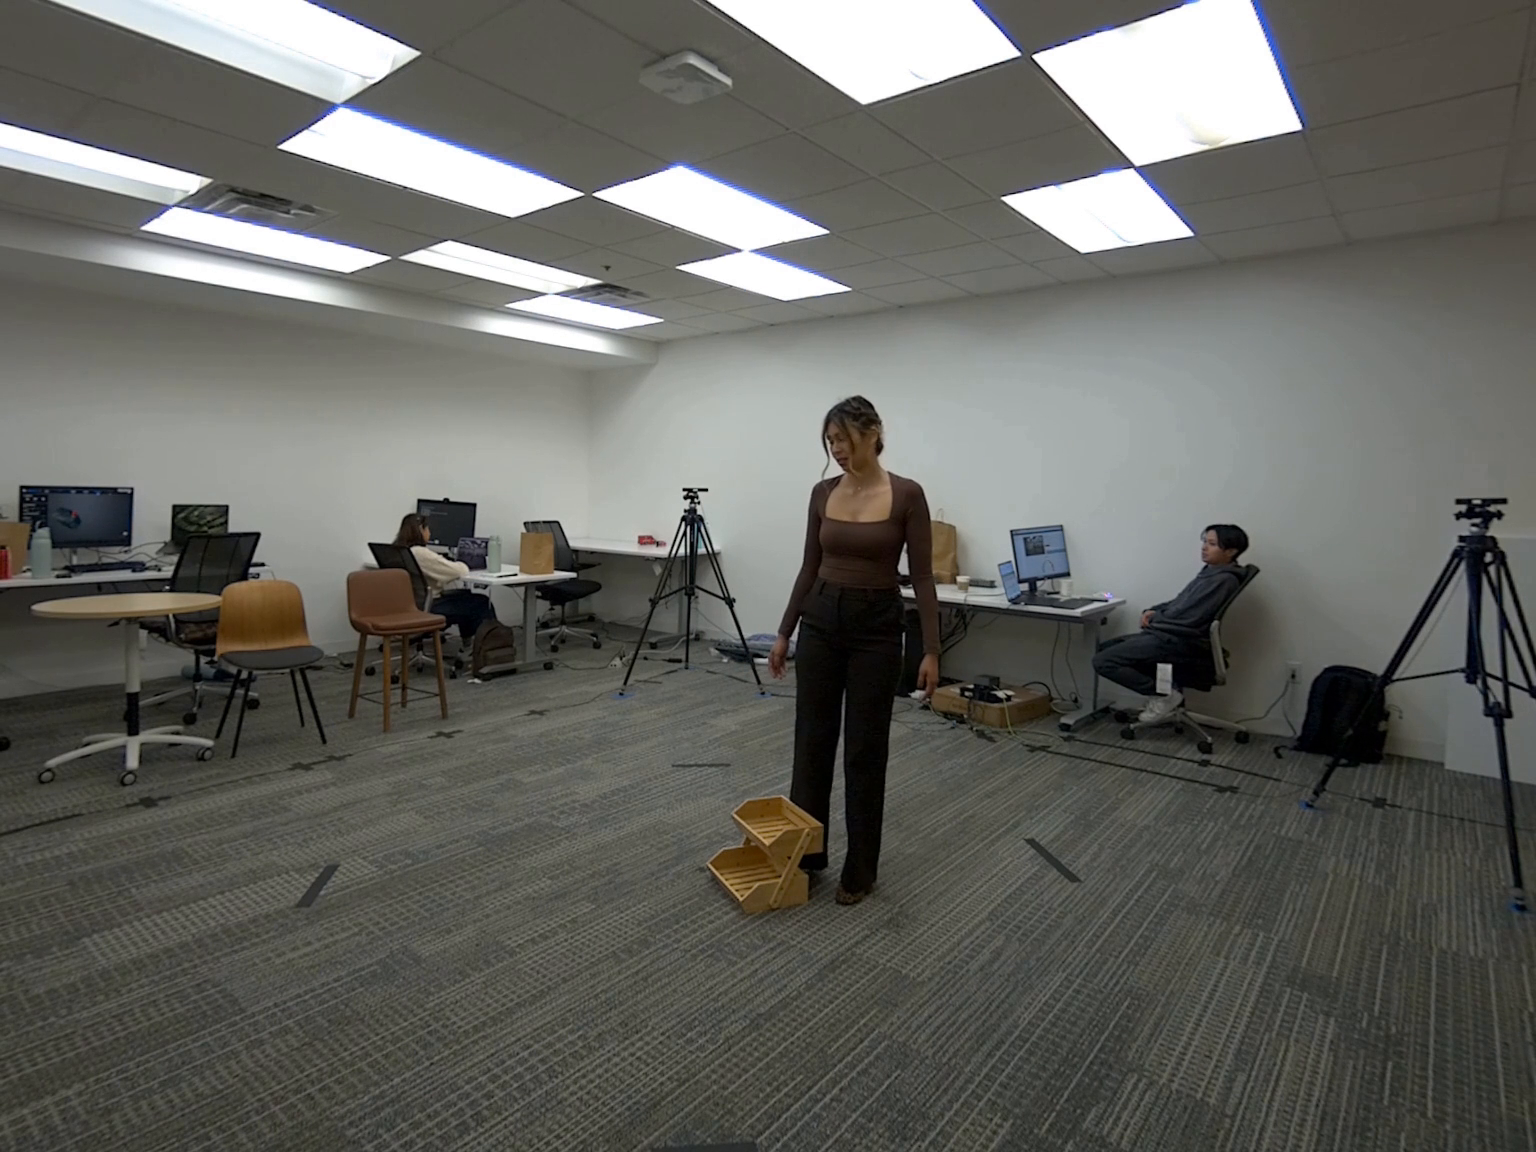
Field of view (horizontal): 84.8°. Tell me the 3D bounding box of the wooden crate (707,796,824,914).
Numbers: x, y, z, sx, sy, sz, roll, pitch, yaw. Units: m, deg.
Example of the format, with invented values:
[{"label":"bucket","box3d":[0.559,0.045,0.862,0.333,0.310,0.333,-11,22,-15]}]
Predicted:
[{"label":"wooden crate","box3d":[-0.029,0.955,2.967,0.295,0.272,0.333,0,5,-24]}]
